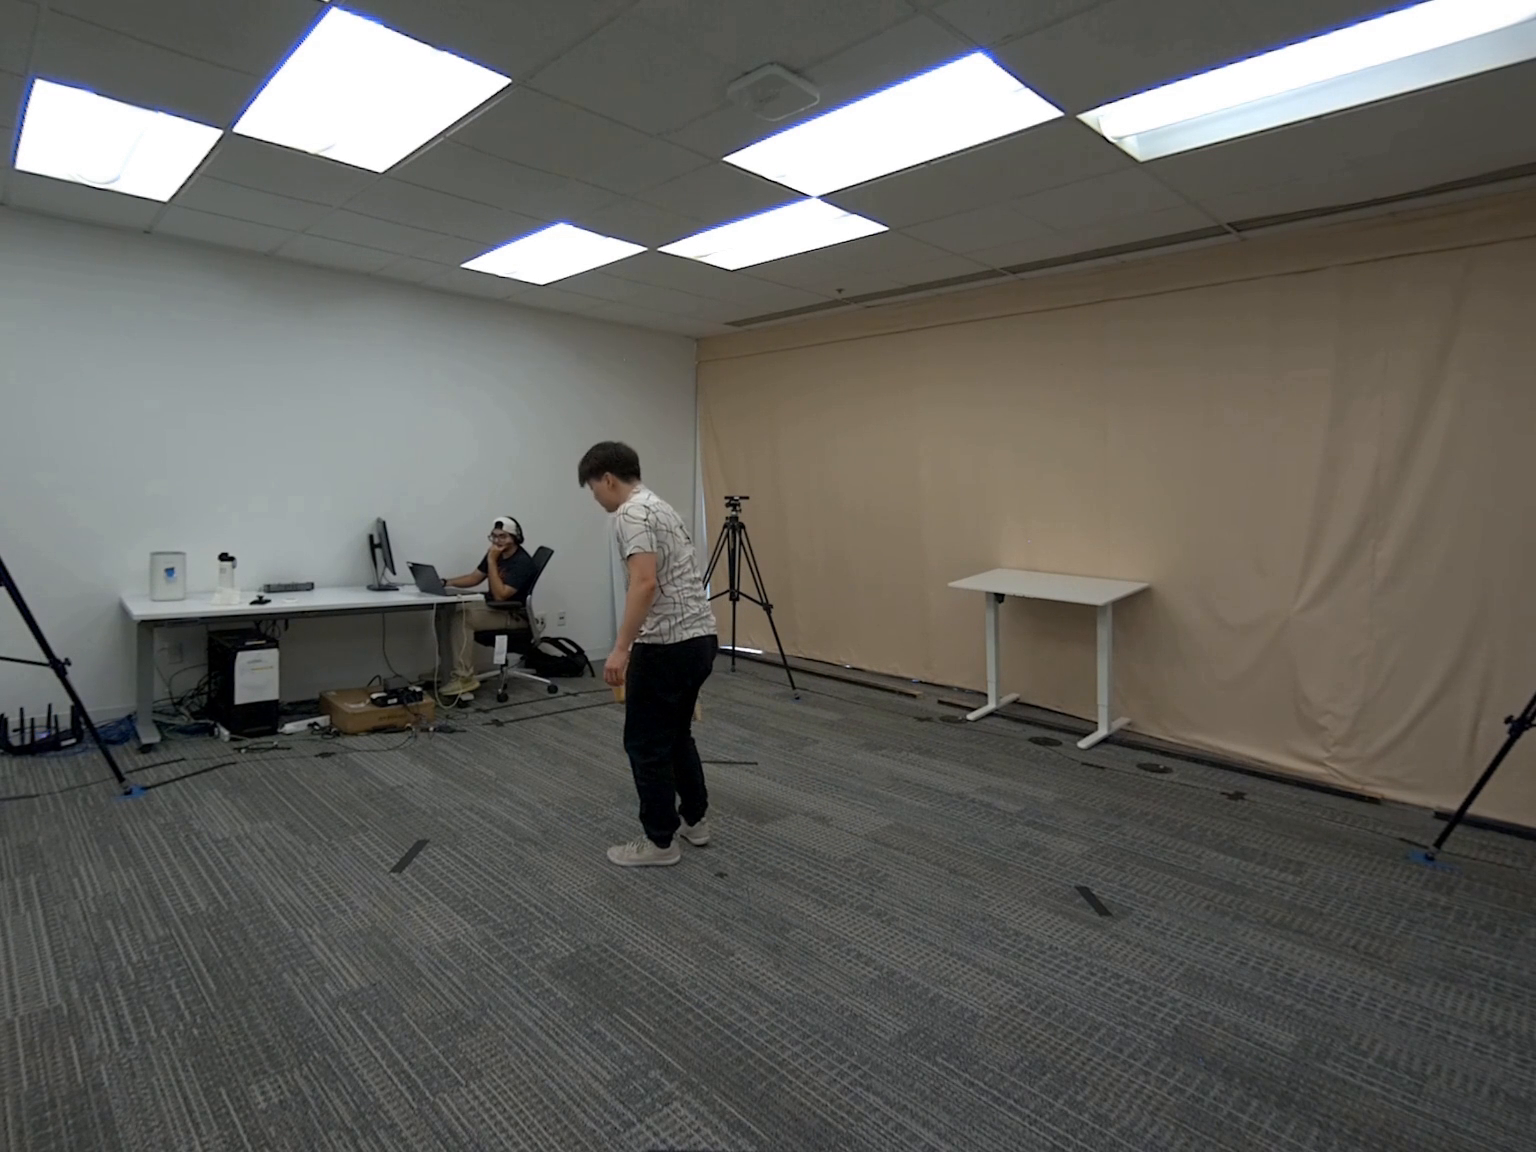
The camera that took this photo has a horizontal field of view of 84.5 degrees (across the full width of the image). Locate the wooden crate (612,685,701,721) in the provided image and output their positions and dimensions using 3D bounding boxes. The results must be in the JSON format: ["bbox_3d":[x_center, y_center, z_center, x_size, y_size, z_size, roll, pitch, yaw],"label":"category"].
[{"bbox_3d":[-0.488,0.489,3.635,0.327,0.308,0.265,-11,-29,15],"label":"wooden crate"}]
